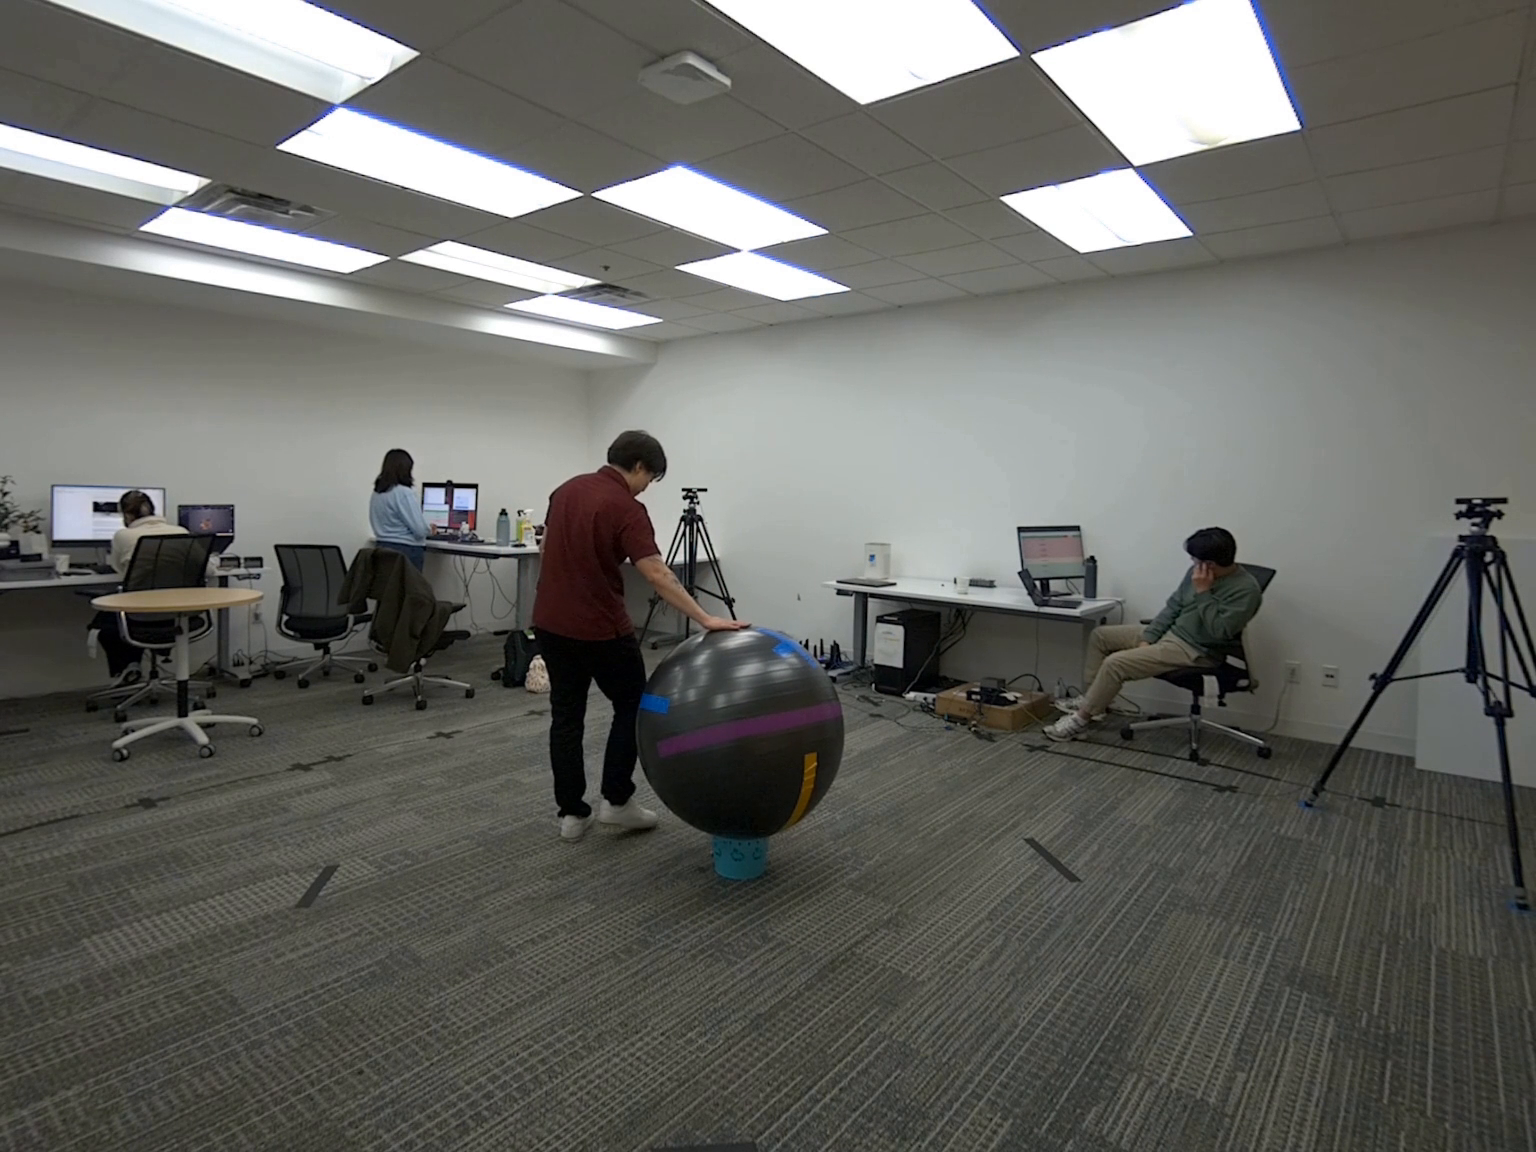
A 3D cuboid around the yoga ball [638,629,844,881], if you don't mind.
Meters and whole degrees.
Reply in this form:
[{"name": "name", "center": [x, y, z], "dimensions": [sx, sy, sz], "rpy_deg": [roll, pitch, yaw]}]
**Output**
[{"name": "yoga ball", "center": [-0.118, 0.560, 3.110], "dimensions": [0.757, 0.755, 0.762], "rpy_deg": [1, 4, -2]}]
